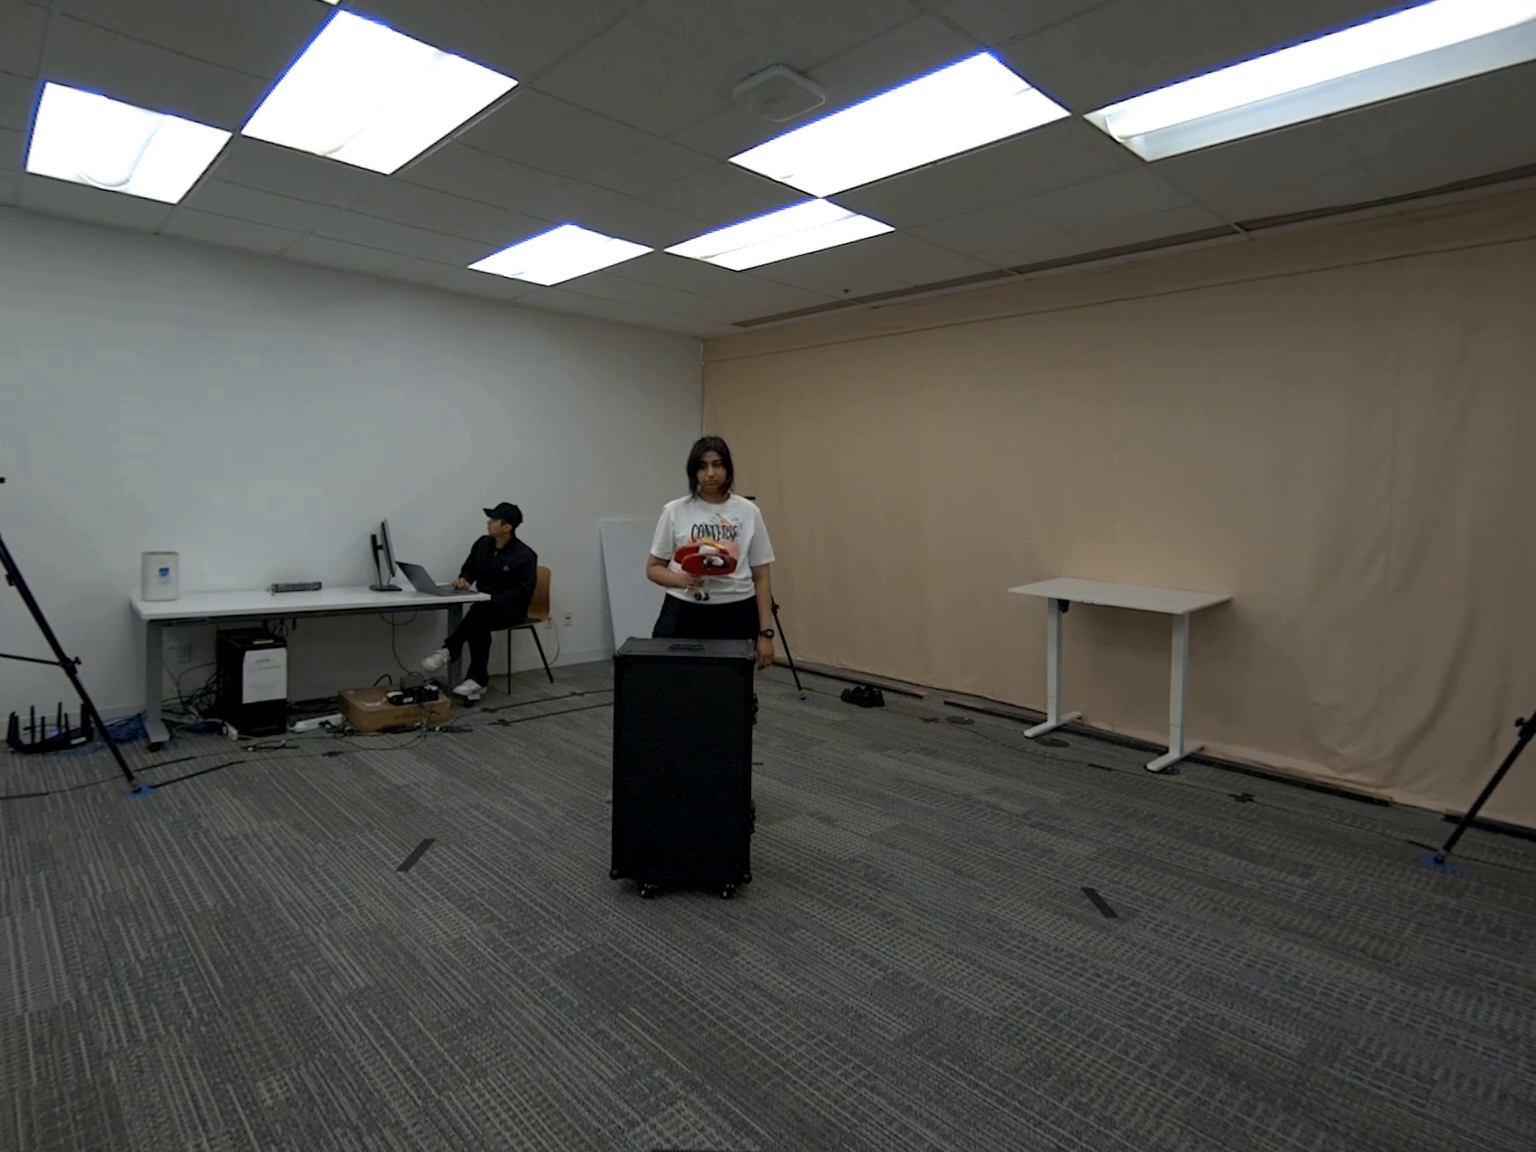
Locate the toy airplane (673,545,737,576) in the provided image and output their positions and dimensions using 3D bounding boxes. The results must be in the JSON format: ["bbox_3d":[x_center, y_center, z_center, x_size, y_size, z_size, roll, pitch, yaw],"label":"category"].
[{"bbox_3d":[-0.268,-0.022,3.470,0.243,0.259,0.161,35,18,-46],"label":"toy airplane"}]
